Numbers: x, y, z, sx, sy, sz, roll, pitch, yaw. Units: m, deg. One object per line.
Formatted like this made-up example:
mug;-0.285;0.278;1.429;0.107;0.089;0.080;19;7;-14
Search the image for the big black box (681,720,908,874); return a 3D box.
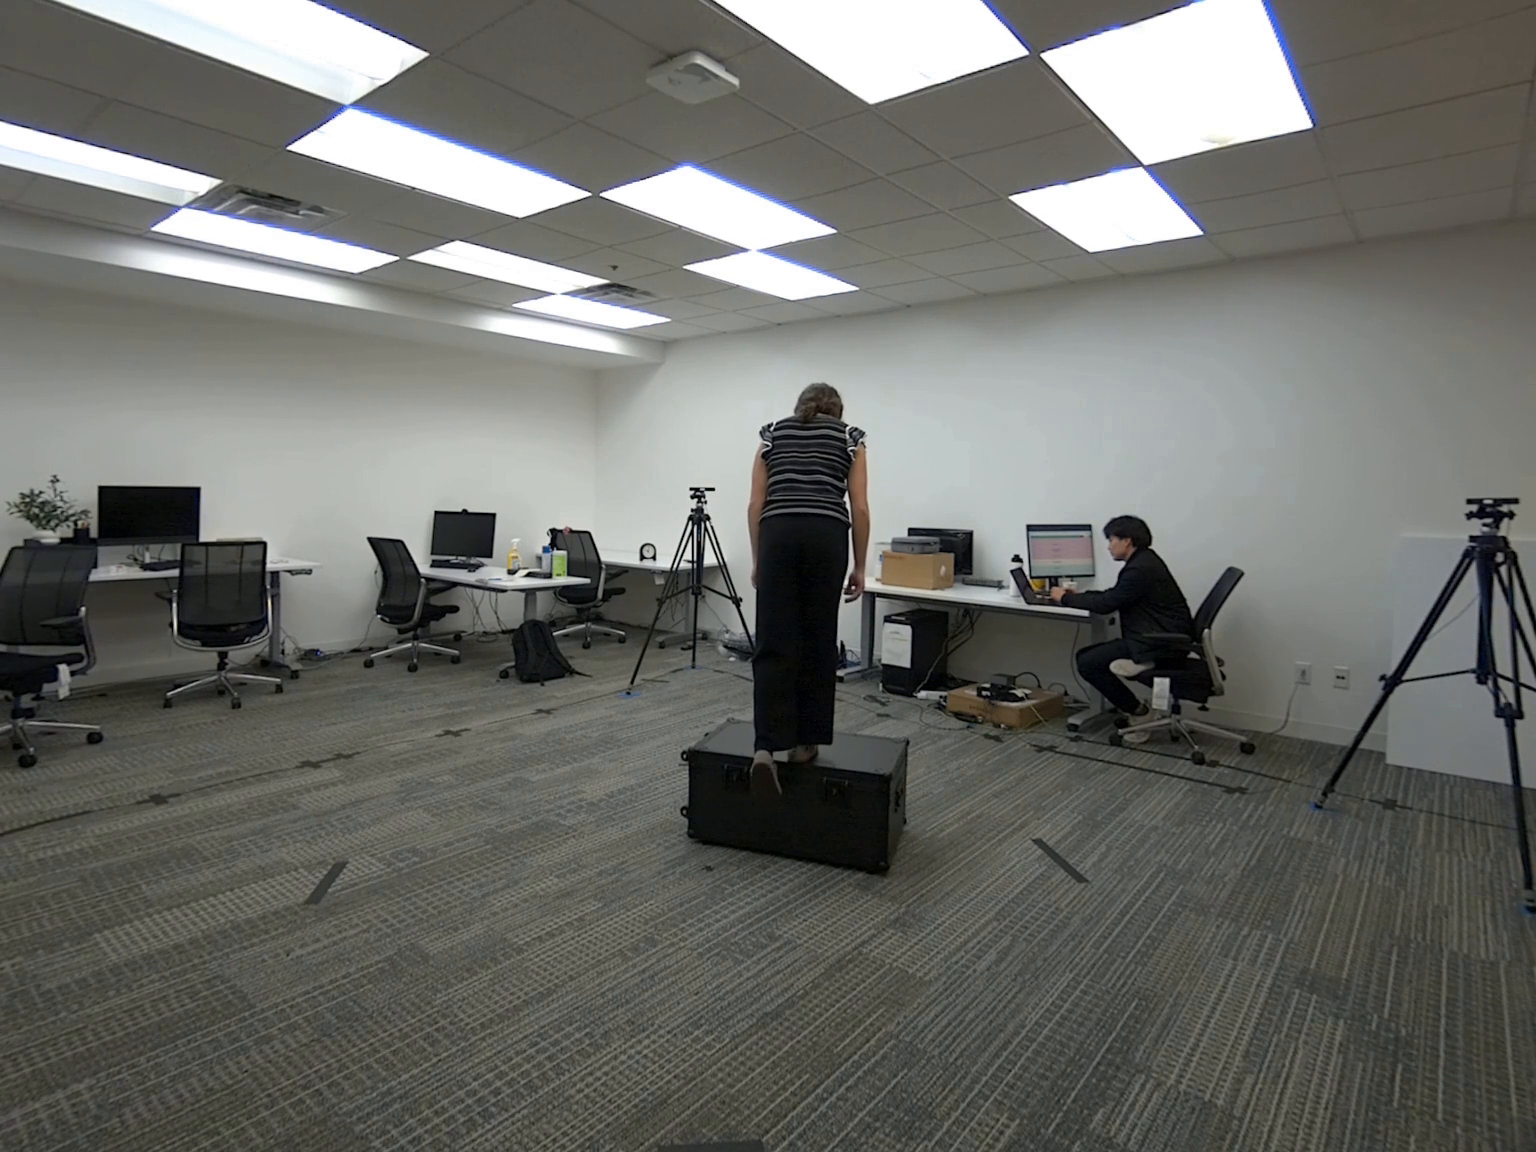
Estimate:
big black box;0.089;0.850;3.427;0.880;0.394;0.513;4;6;19
